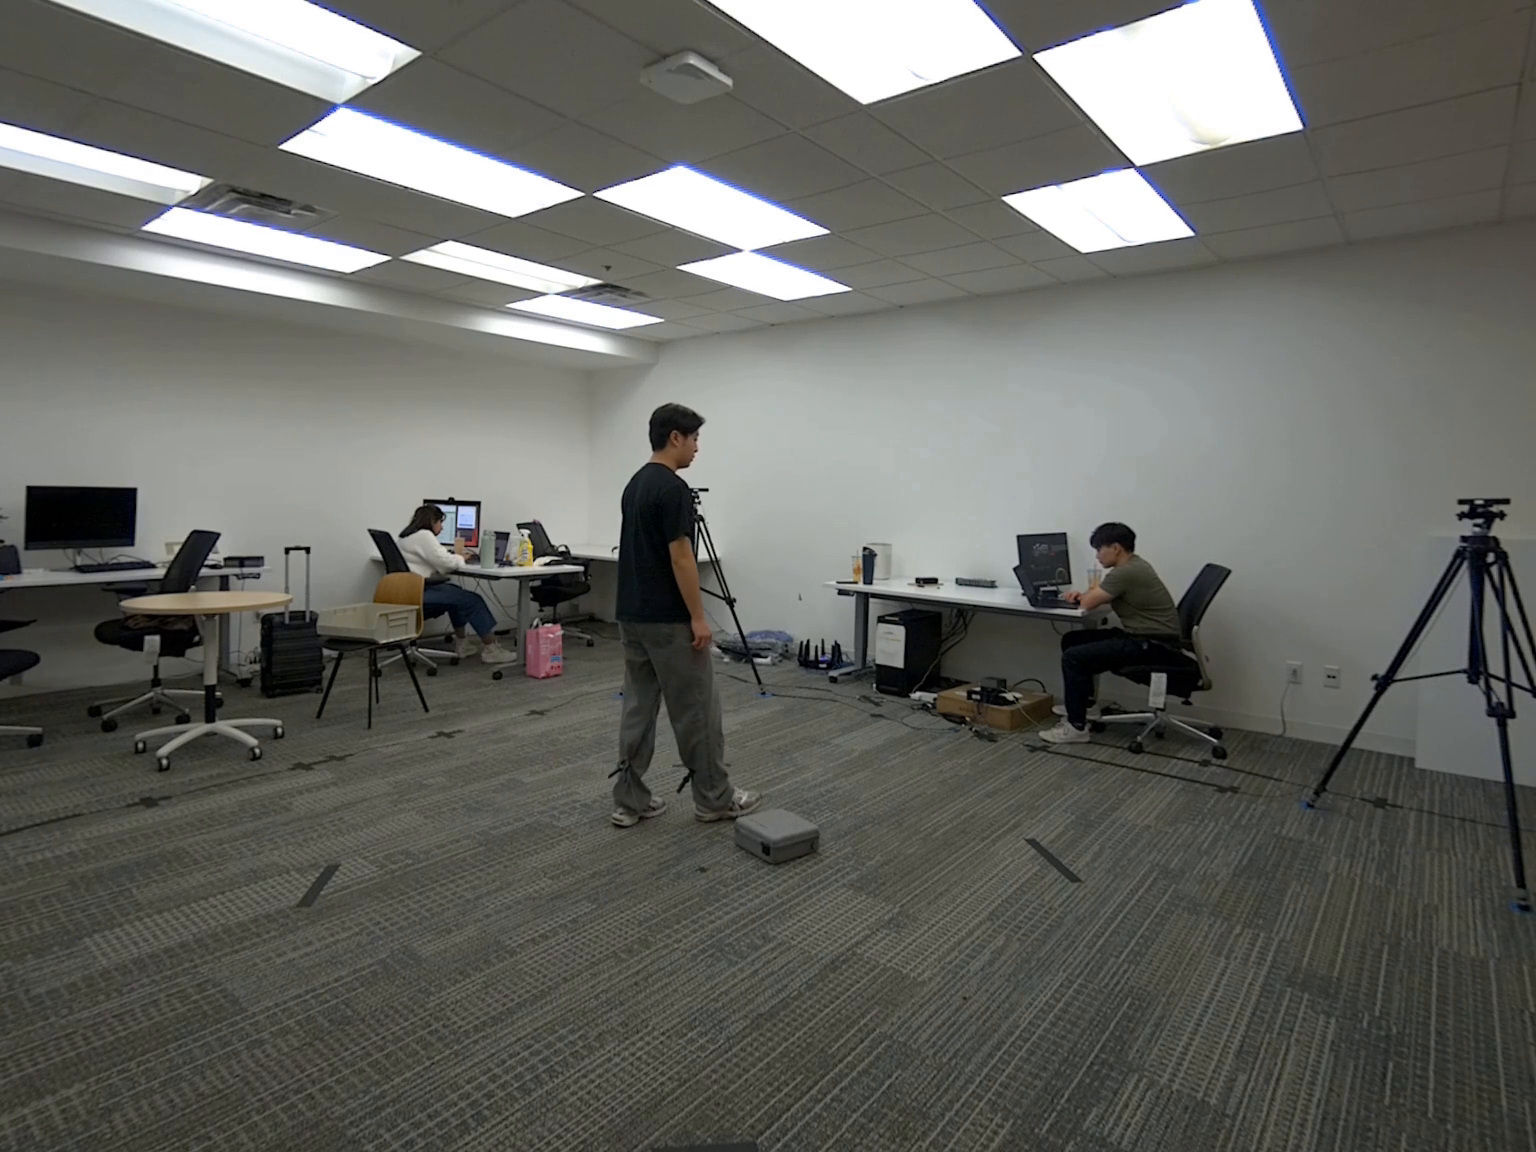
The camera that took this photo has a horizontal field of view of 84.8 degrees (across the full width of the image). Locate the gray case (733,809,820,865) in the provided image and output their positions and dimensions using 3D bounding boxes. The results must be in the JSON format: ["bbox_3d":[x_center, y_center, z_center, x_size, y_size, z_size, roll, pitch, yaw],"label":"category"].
[{"bbox_3d":[0.033,1.001,3.315,0.278,0.103,0.272,-2,6,-38],"label":"gray case"}]
